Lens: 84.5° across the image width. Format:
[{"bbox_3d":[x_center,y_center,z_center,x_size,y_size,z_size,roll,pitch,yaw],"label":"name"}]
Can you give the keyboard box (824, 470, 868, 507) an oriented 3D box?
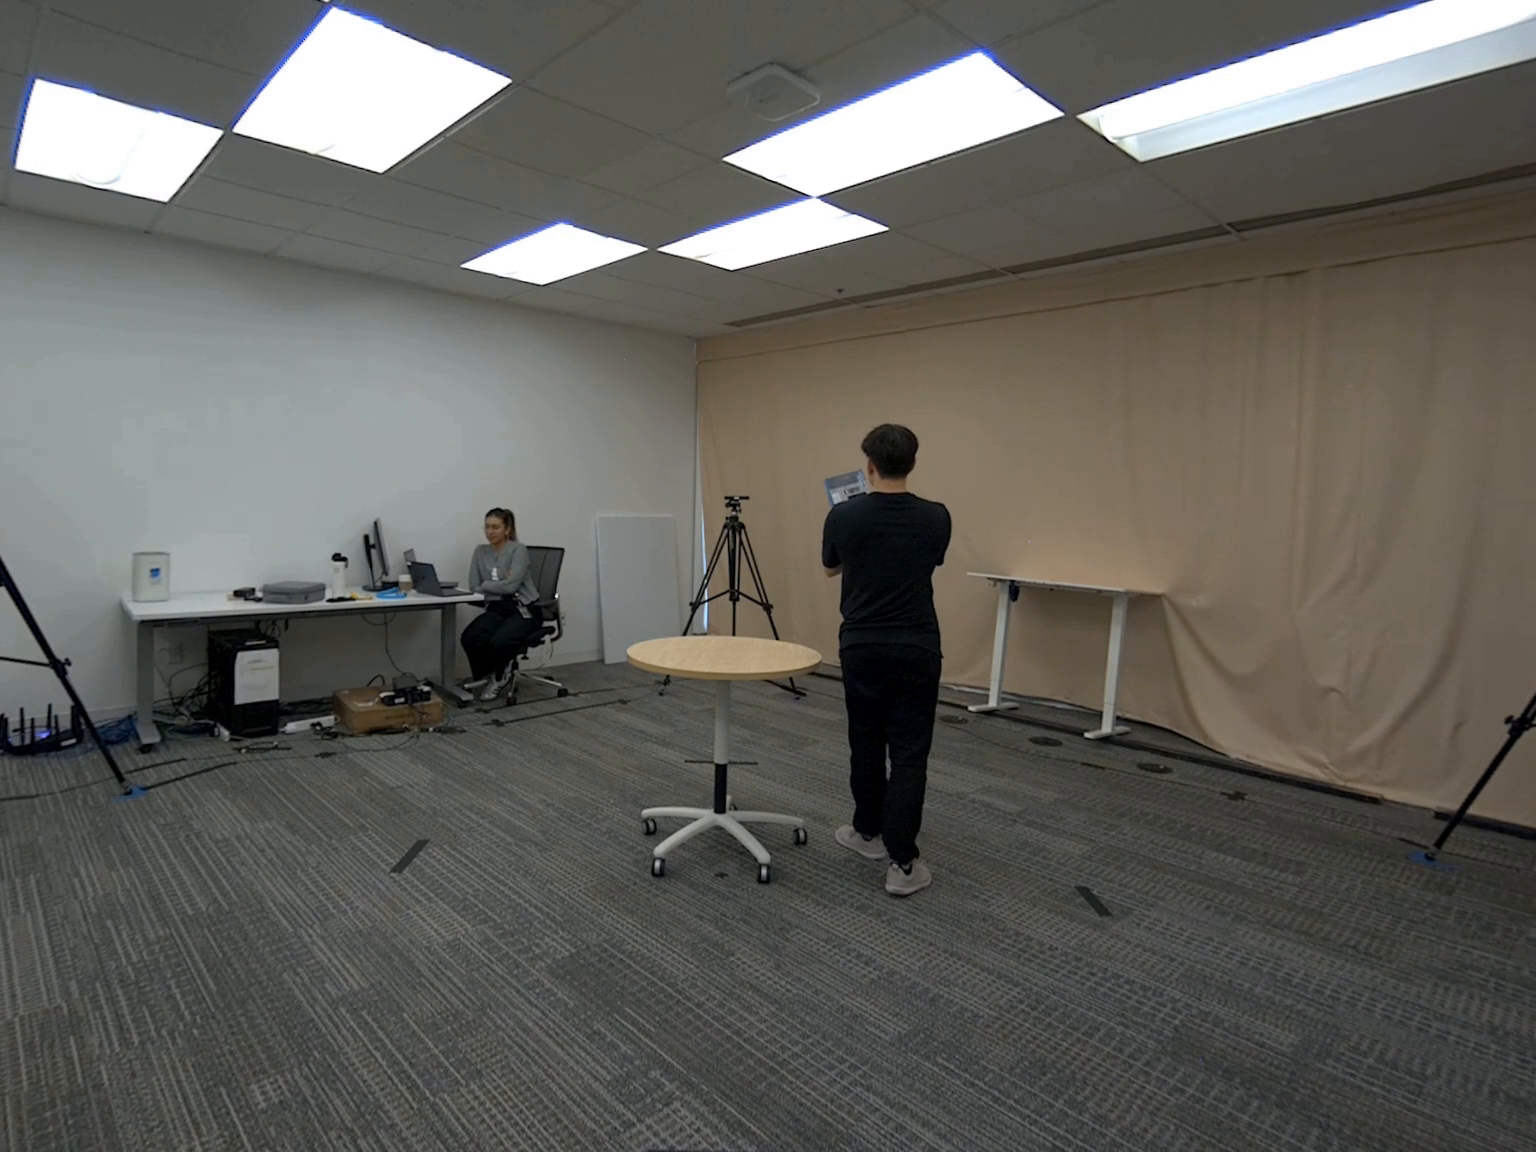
[{"bbox_3d":[0.393,-0.232,3.637,0.175,0.443,0.058,-15,-14,-9],"label":"keyboard box"}]
